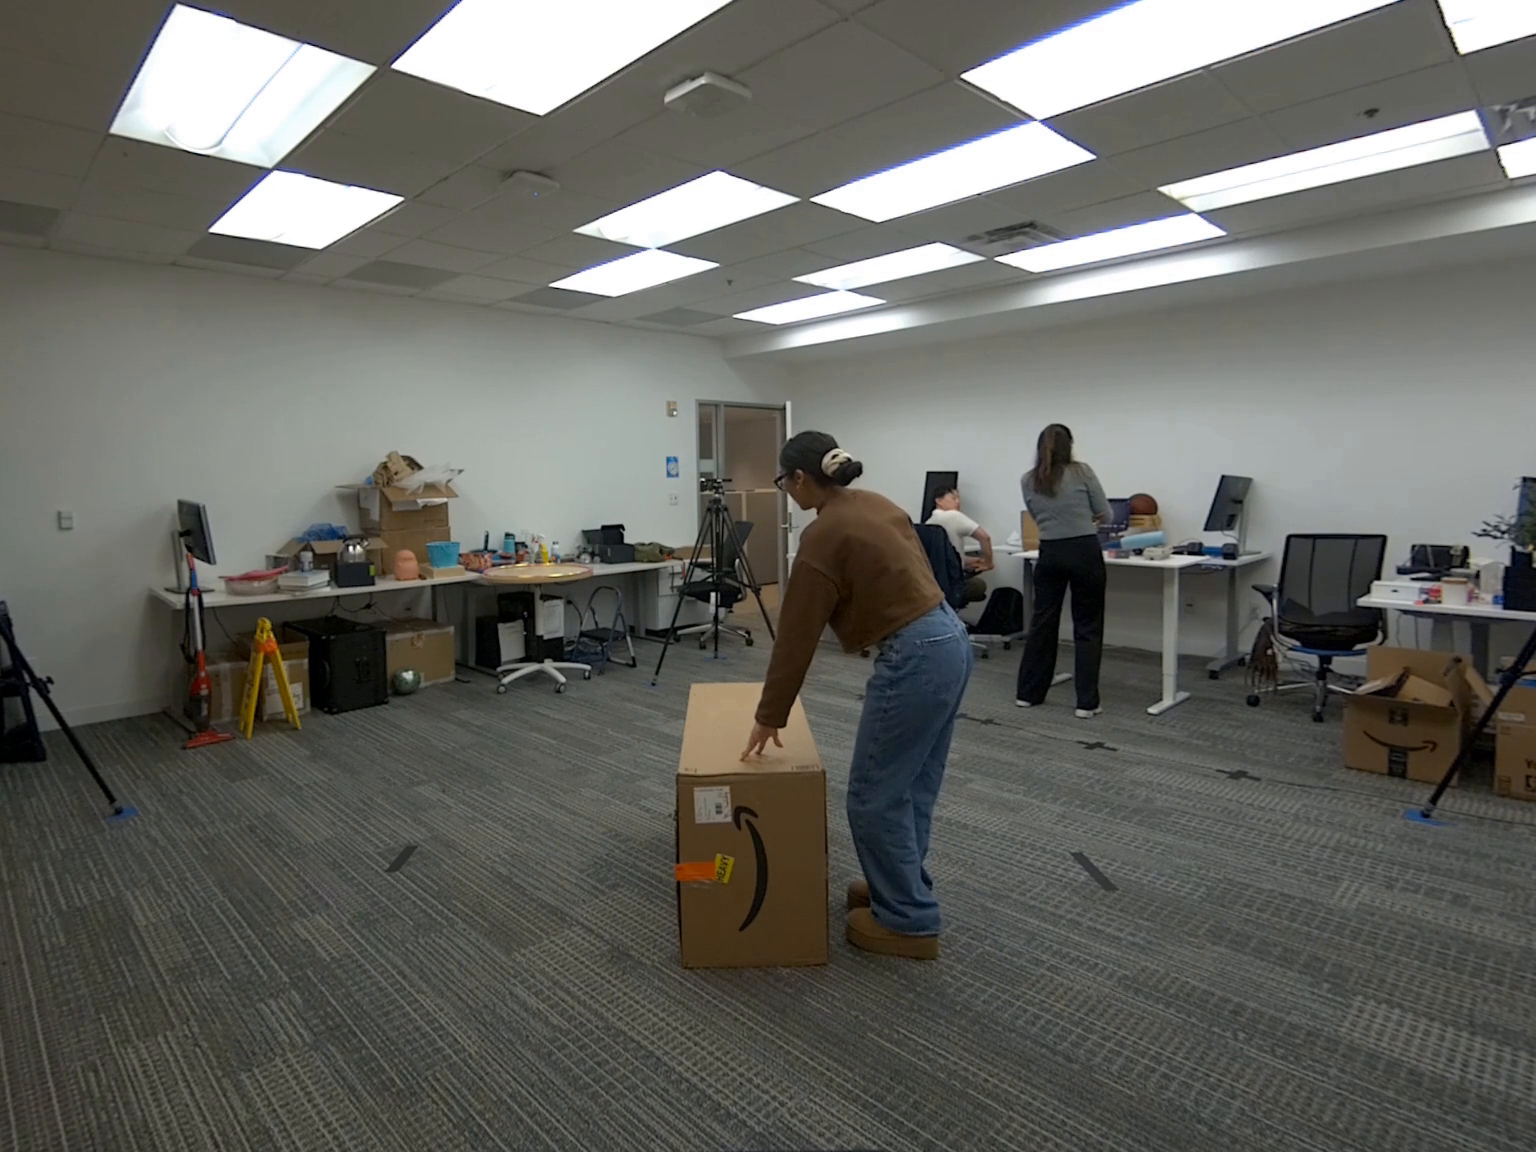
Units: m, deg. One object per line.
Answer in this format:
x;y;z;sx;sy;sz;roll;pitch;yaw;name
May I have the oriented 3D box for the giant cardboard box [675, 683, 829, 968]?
-0.071;0.778;2.941;0.447;0.581;1.032;0;6;-2;giant cardboard box
